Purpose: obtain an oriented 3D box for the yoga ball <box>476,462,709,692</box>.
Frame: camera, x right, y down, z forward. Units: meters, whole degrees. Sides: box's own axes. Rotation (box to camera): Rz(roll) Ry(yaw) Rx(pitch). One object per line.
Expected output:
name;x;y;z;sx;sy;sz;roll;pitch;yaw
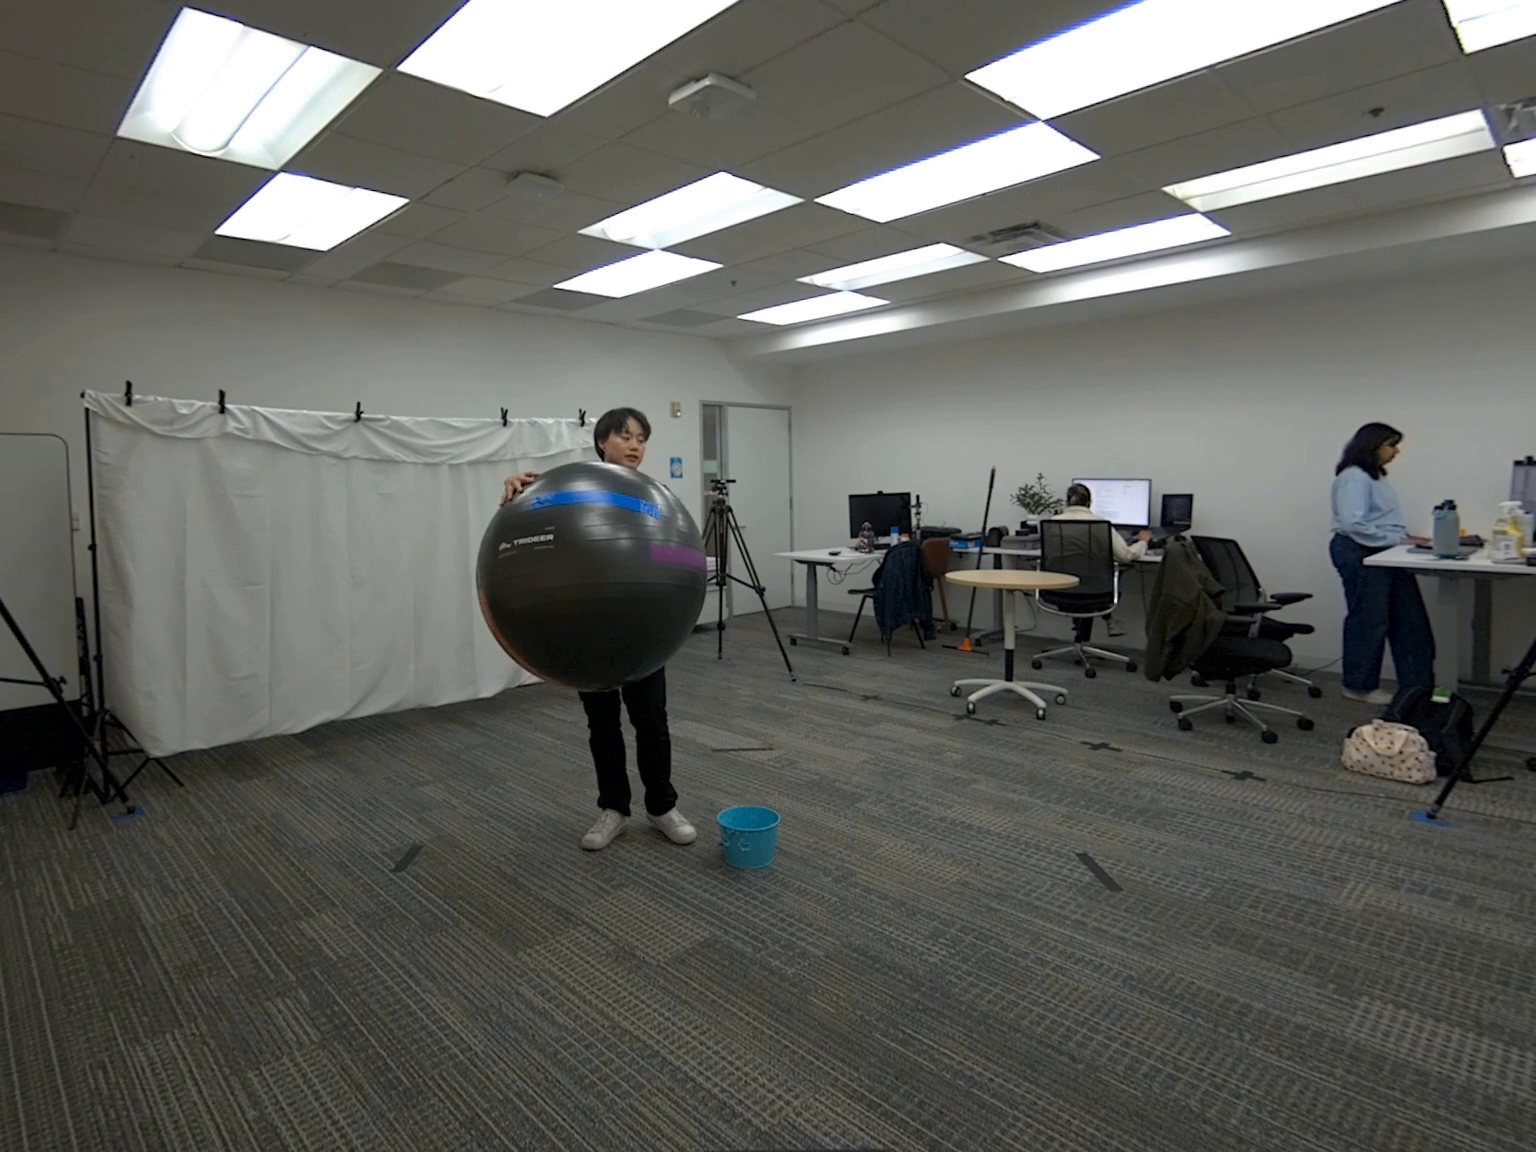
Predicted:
yoga ball;-0.602;0.008;2.851;0.757;0.755;0.762;-1;5;-2
